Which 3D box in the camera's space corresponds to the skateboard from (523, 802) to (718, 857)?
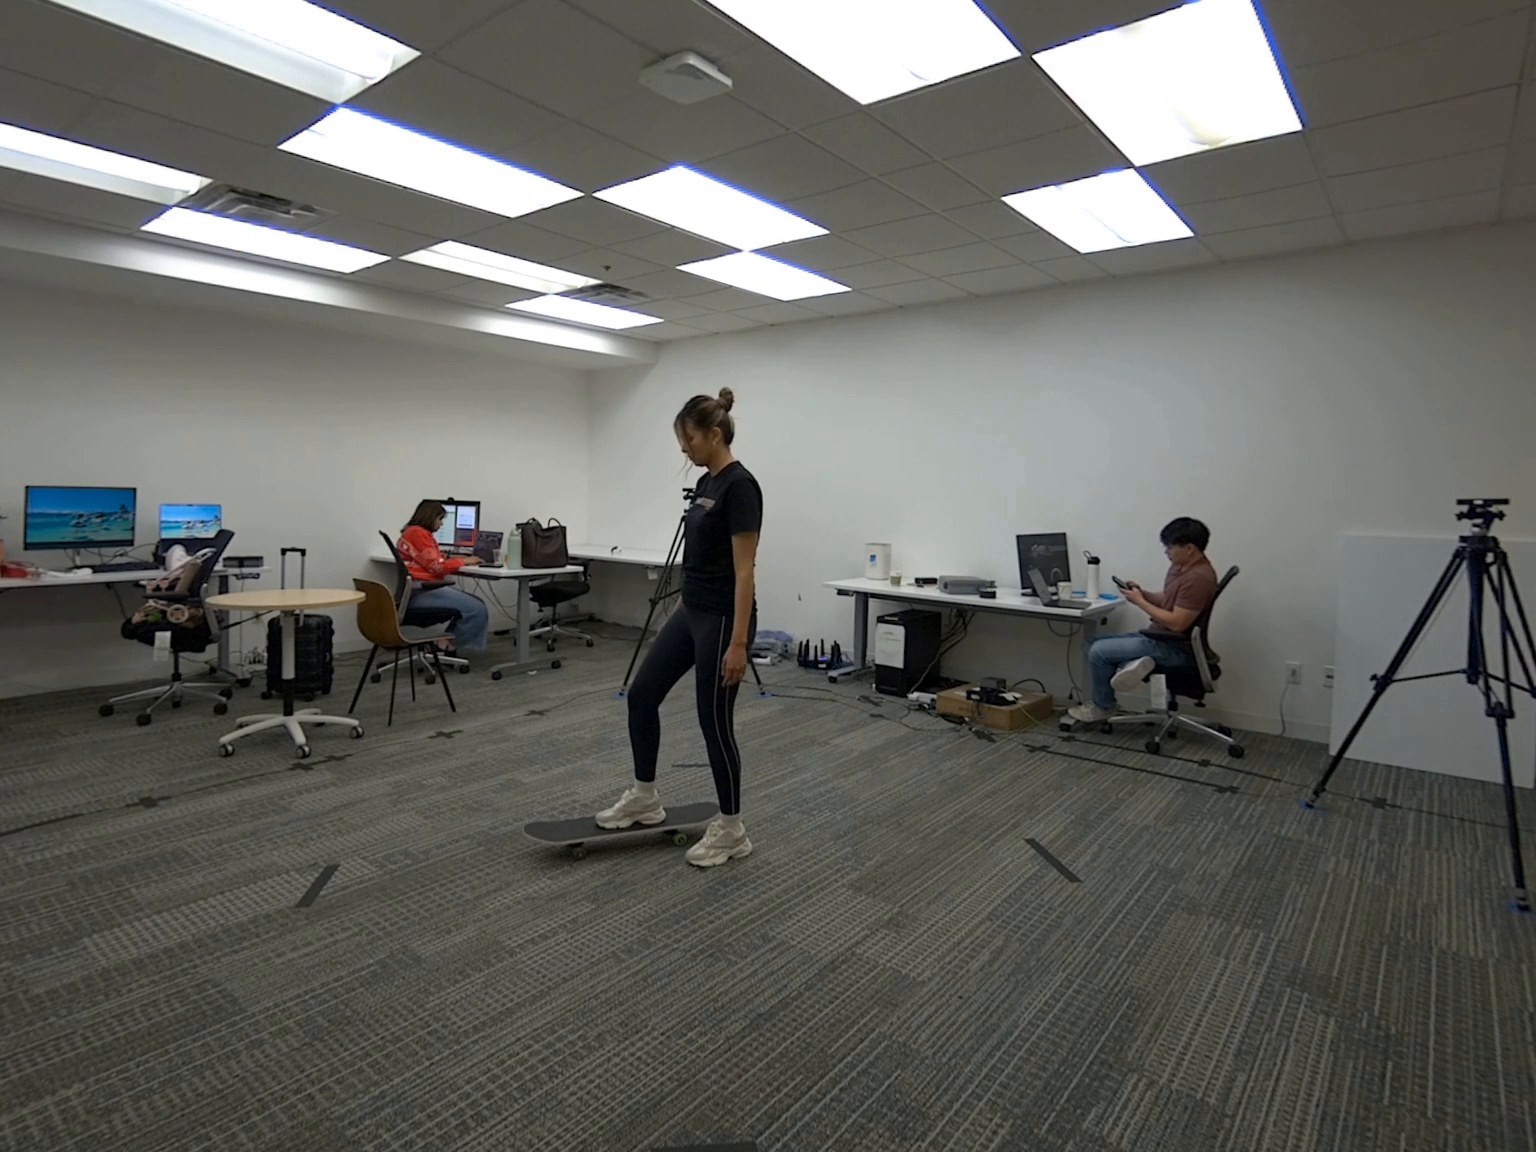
[{"bbox_3d":[-0.565,0.991,3.318,0.769,0.110,0.198,-1,6,-21],"label":"skateboard"}]
